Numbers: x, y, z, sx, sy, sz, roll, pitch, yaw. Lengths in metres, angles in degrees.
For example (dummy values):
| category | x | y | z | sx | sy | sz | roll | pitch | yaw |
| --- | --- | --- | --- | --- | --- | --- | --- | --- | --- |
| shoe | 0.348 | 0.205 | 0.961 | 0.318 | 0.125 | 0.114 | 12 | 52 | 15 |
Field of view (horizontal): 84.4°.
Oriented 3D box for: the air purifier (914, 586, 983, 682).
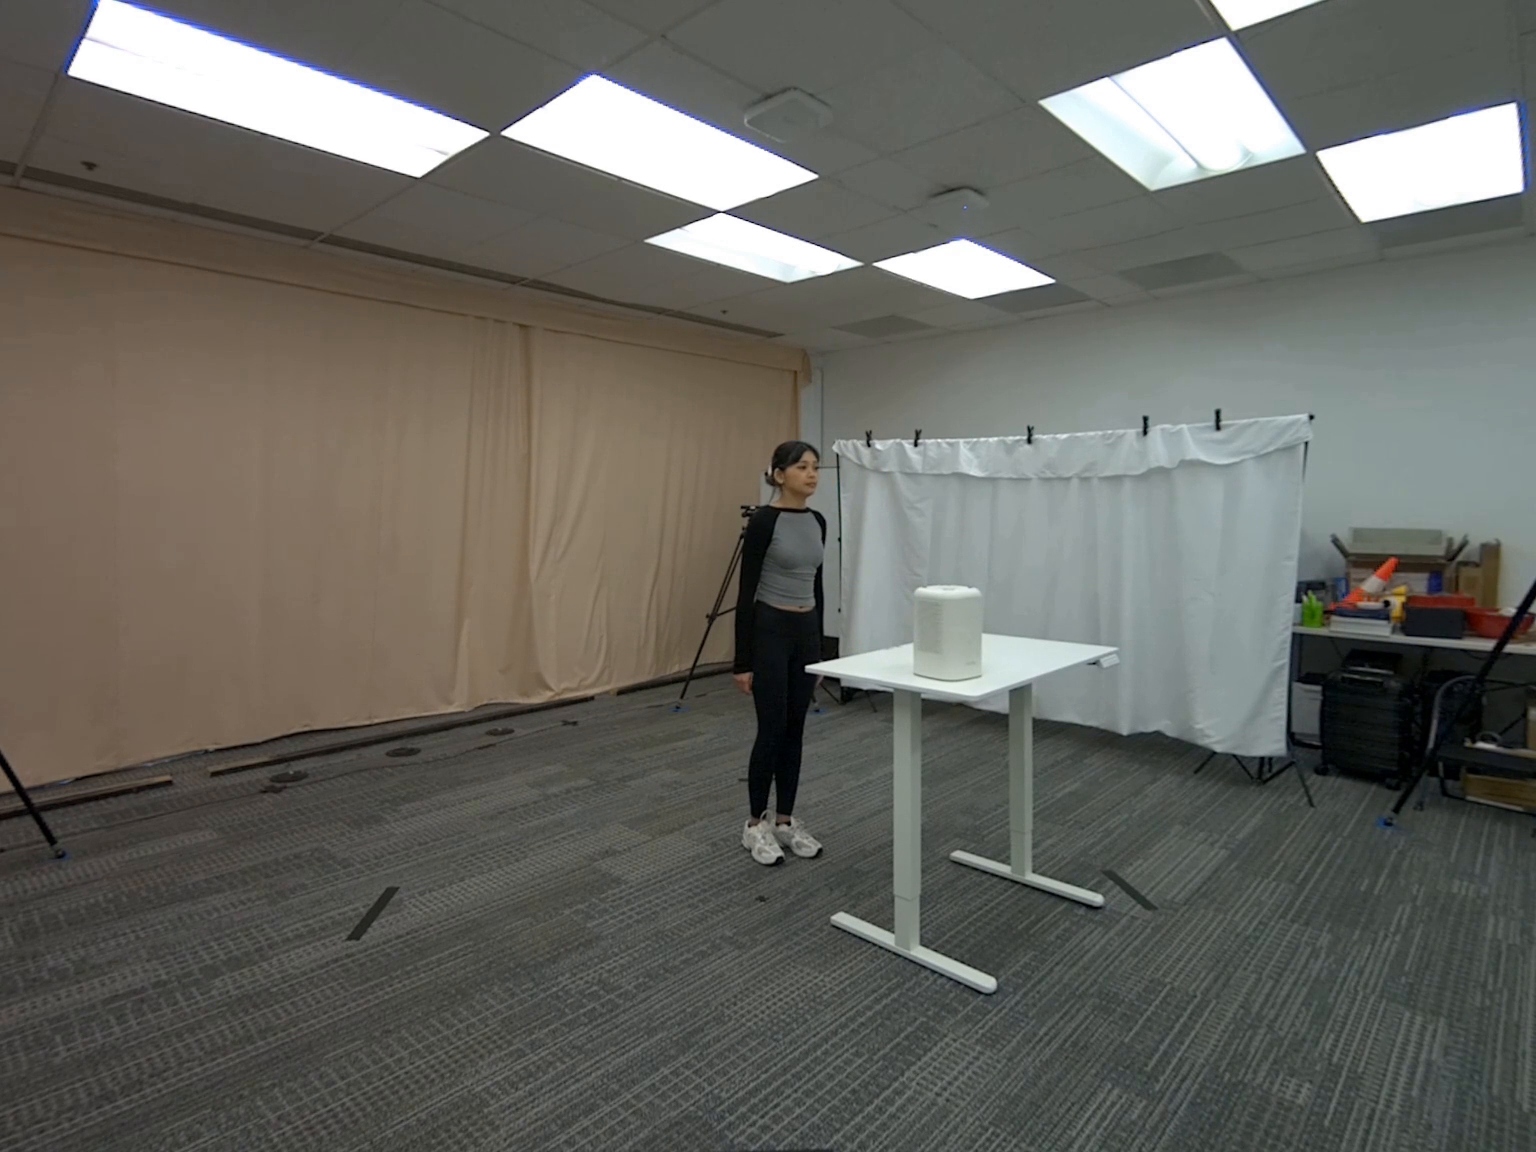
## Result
| category | x | y | z | sx | sy | sz | roll | pitch | yaw |
| --- | --- | --- | --- | --- | --- | --- | --- | --- | --- |
| air purifier | 0.546 | 0.167 | 2.522 | 0.166 | 0.265 | 0.177 | -4 | 4 | -35 |
